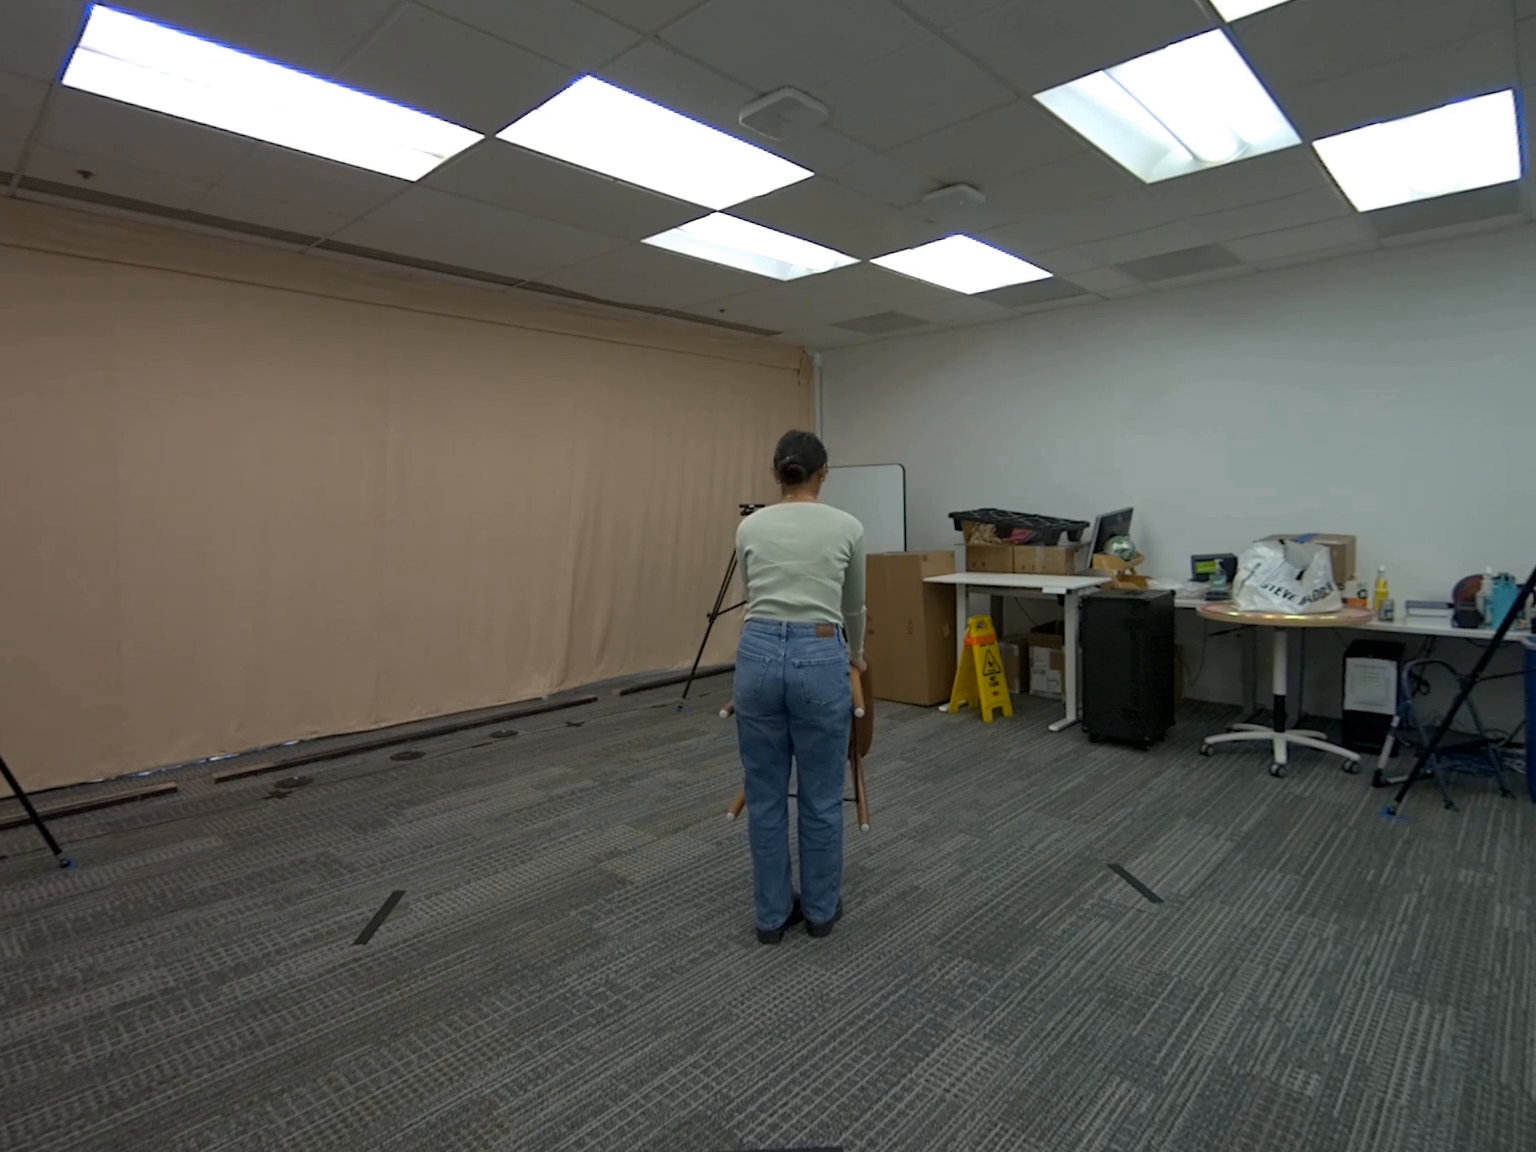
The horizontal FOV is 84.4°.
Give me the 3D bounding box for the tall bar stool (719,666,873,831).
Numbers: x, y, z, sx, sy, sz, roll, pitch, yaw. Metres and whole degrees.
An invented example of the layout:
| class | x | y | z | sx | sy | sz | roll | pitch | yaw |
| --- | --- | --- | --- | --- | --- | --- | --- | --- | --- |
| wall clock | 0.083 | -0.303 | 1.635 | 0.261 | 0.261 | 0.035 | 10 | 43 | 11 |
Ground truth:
| class | x | y | z | sx | sy | sz | roll | pitch | yaw |
| --- | --- | --- | --- | --- | --- | --- | --- | --- | --- |
| tall bar stool | 0.143 | 0.496 | 3.033 | 0.473 | 0.453 | 0.886 | -3 | 12 | 10 |
